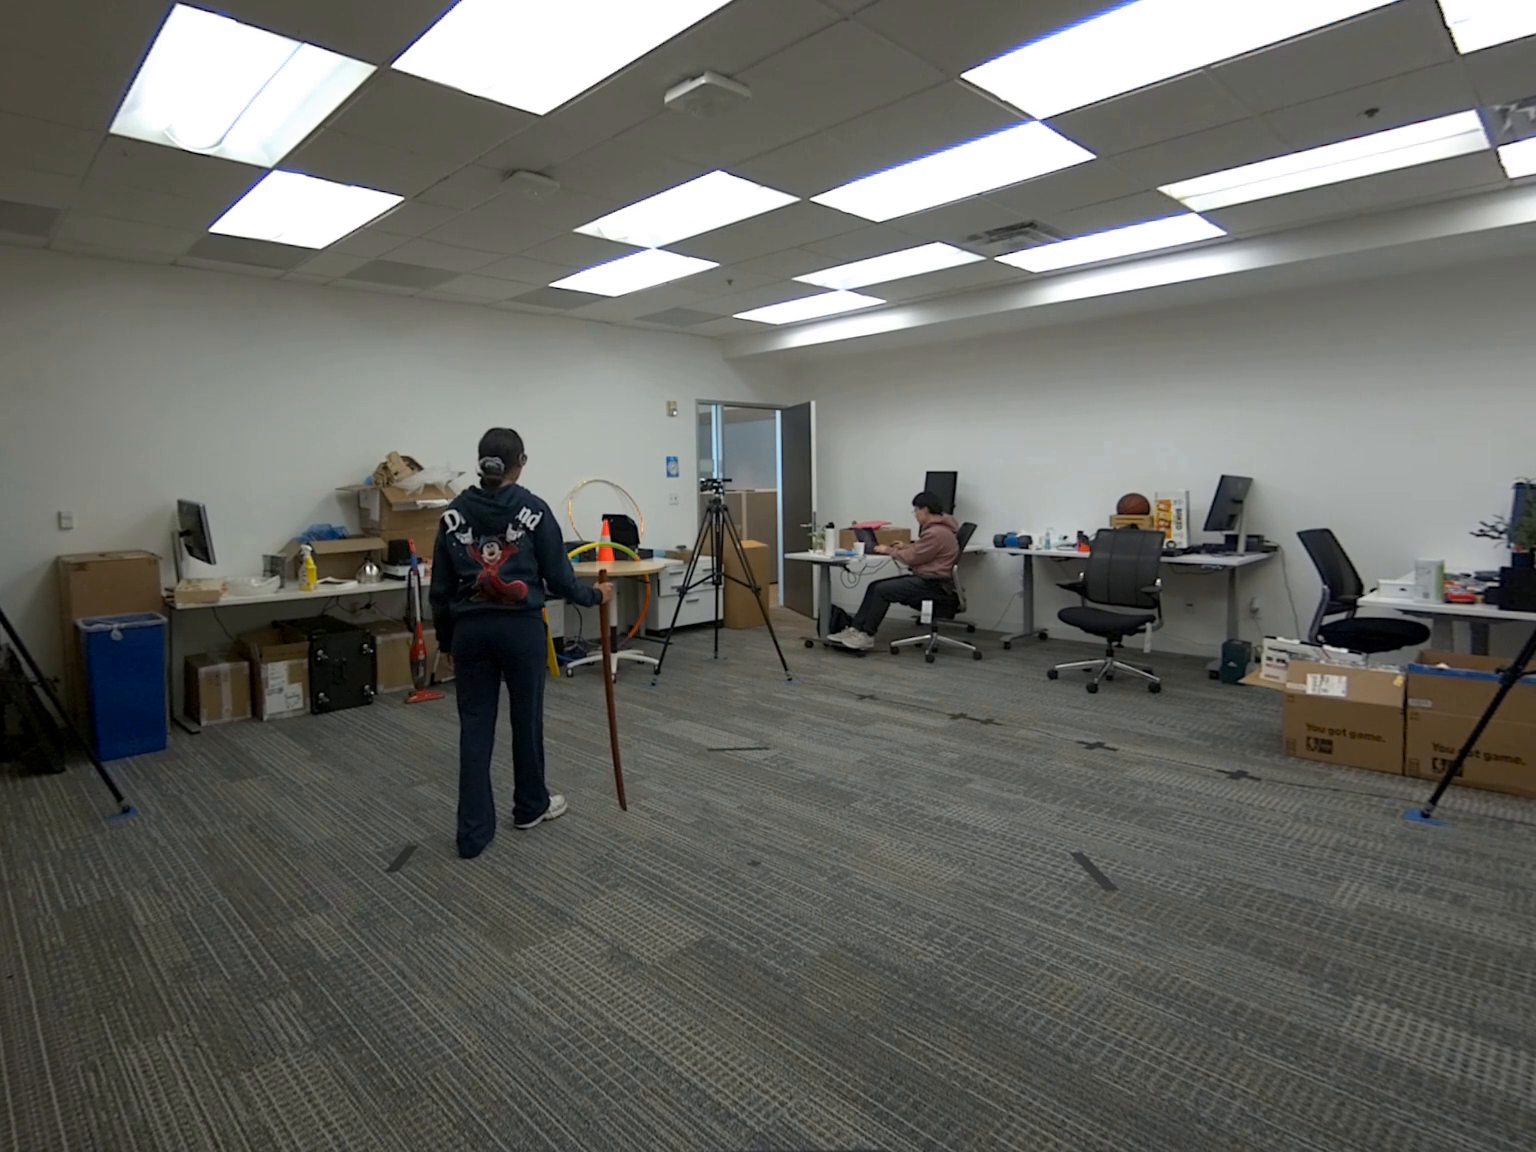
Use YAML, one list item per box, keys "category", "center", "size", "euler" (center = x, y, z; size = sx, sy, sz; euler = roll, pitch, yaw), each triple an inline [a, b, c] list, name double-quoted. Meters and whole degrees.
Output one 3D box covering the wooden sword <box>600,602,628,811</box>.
- category: "wooden sword"
  center: [-0.658, 0.499, 3.637]
  size: [0.052, 1.024, 0.024]
  euler: [-4, 0, 14]
